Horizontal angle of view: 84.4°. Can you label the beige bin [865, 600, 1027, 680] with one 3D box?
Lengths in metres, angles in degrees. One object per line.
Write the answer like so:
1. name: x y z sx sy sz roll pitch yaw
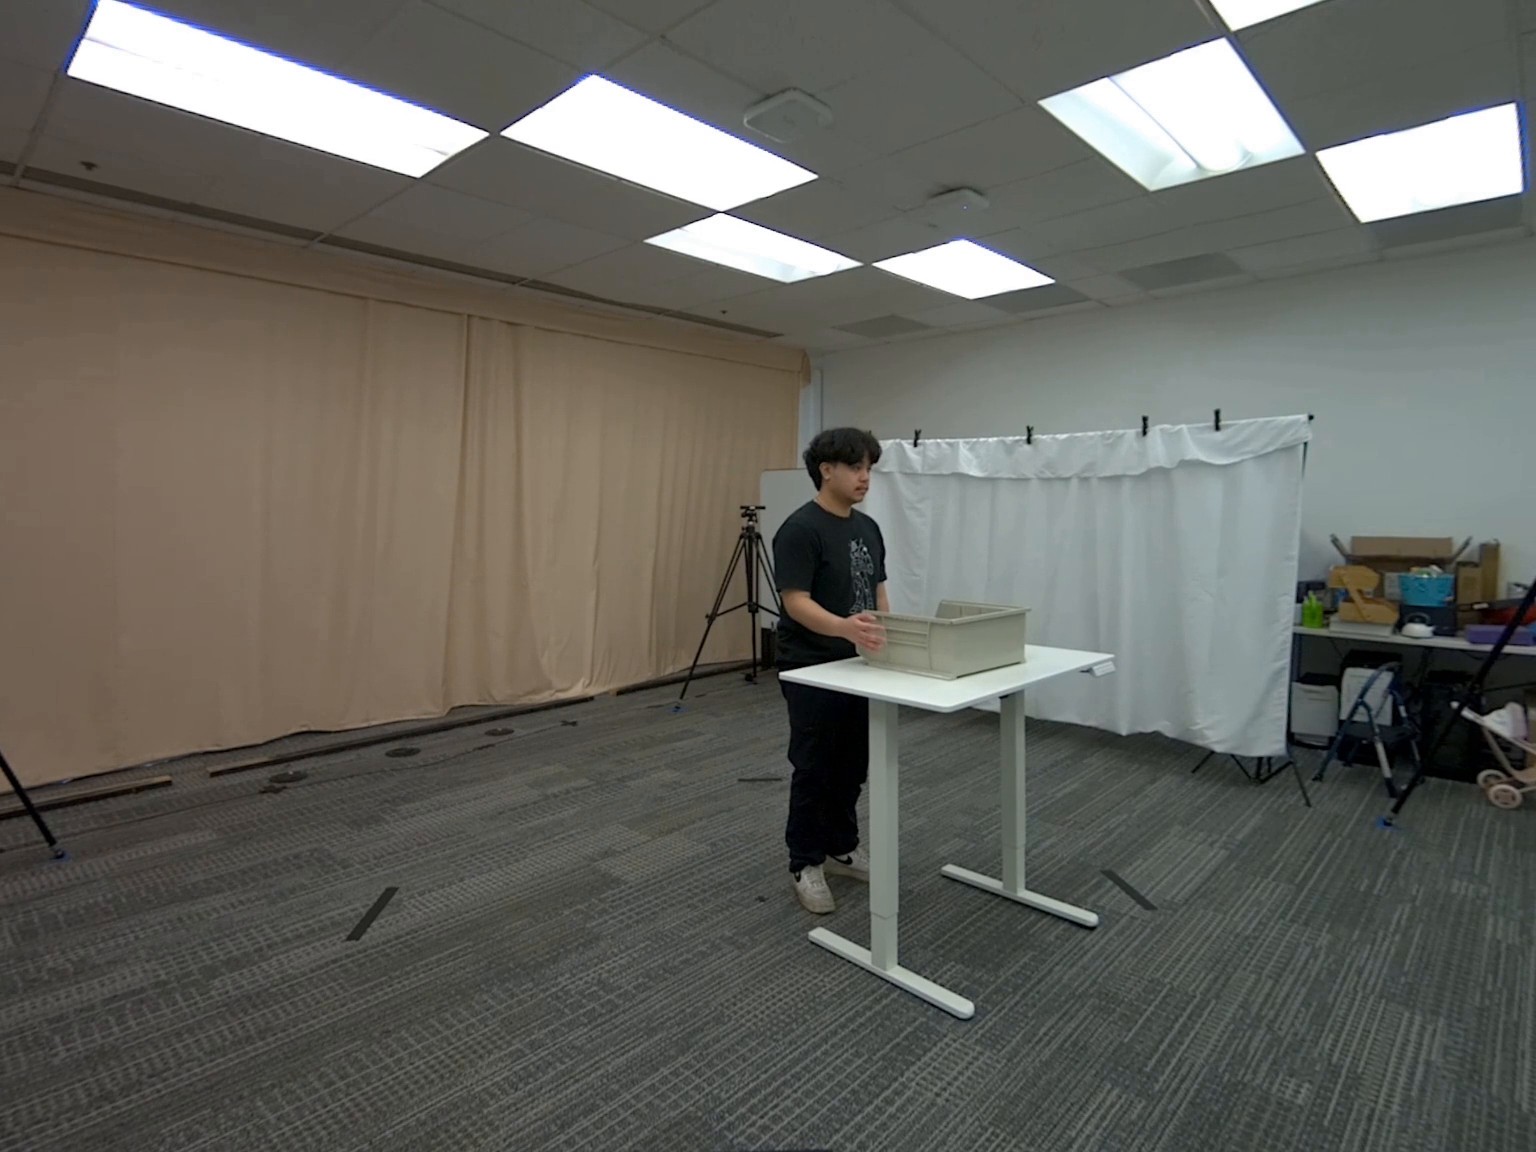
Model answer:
1. beige bin: 0.566 0.199 2.704 0.409 0.188 0.390 -4 6 -40
